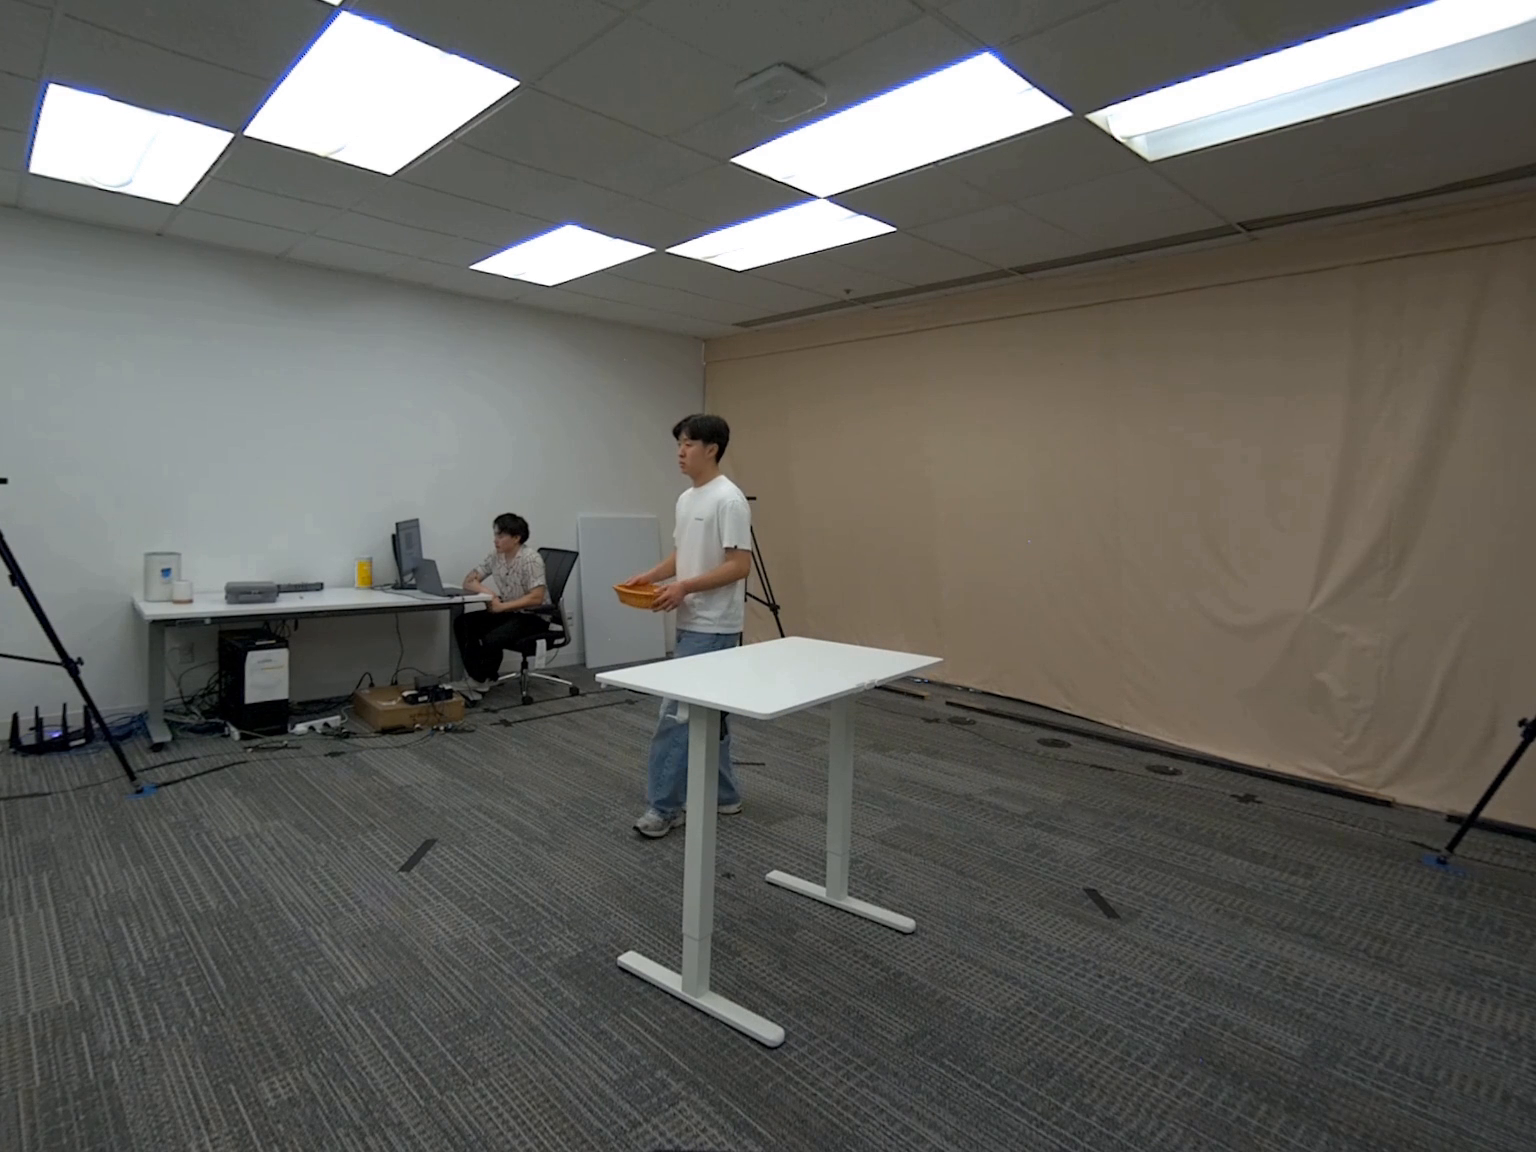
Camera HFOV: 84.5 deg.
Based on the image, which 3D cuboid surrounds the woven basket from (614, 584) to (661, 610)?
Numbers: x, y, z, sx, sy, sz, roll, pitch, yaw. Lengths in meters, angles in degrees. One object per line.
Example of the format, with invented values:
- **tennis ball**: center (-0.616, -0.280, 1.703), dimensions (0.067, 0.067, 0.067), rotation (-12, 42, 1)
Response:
- **woven basket**: center (-0.493, 0.087, 3.479), dimensions (0.247, 0.073, 0.359), rotation (-2, 6, -35)
